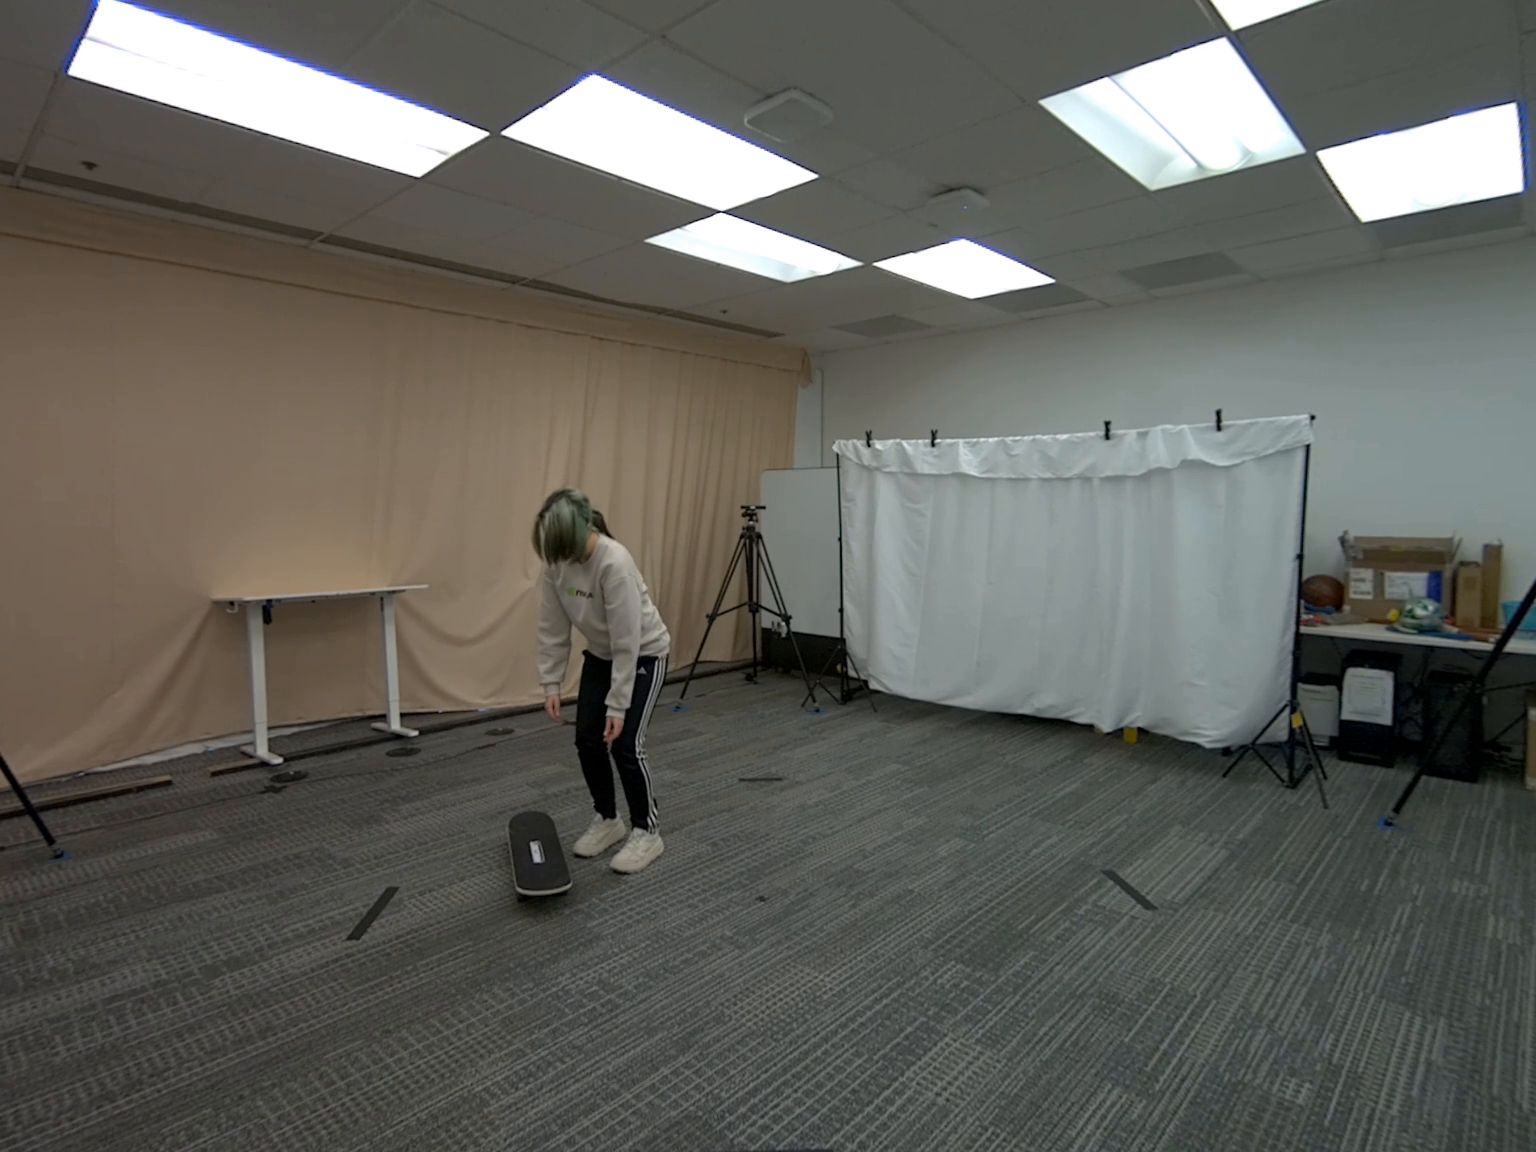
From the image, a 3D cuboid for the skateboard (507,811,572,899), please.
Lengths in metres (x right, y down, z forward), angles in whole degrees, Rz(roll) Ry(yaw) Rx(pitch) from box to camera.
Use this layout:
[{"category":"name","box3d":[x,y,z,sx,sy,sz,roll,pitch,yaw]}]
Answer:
[{"category":"skateboard","box3d":[-0.876,1.077,3.193,0.190,0.110,0.802,-2,4,-20]}]
